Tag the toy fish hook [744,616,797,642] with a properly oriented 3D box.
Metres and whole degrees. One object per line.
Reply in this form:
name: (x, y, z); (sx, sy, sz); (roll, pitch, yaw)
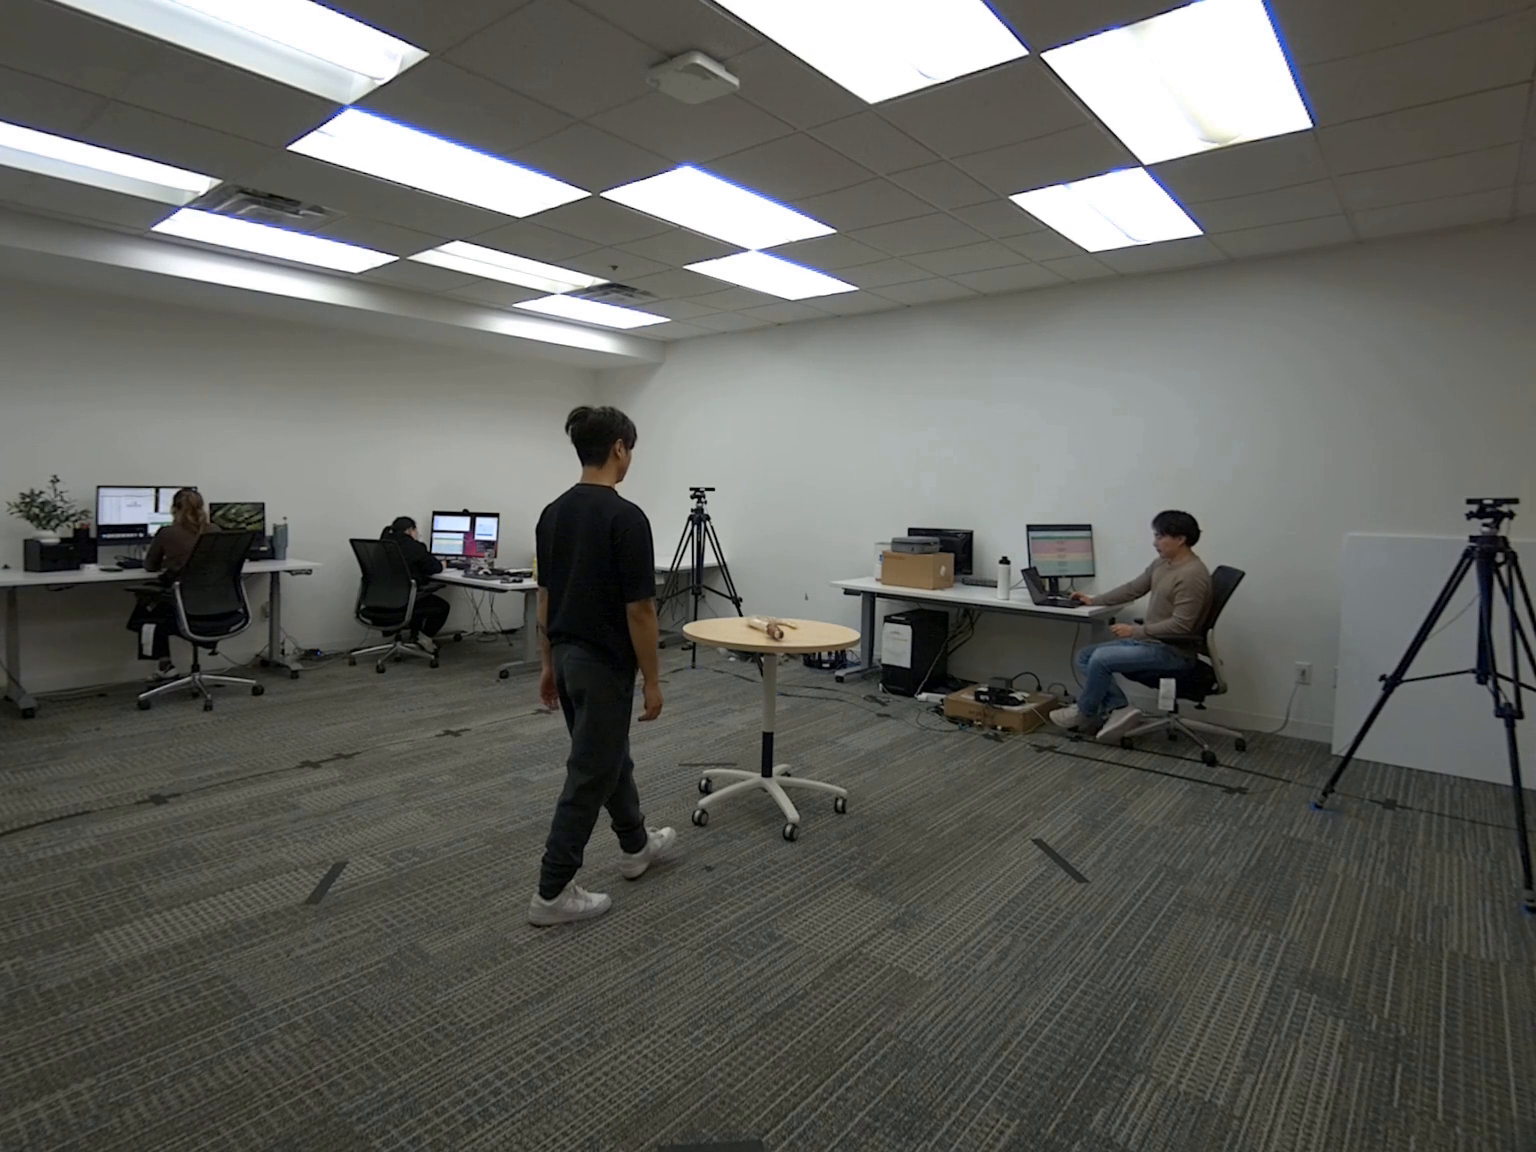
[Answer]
toy fish hook: (0.043, 0.210, 3.656); (0.223, 0.048, 0.513); (-3, 5, -9)
